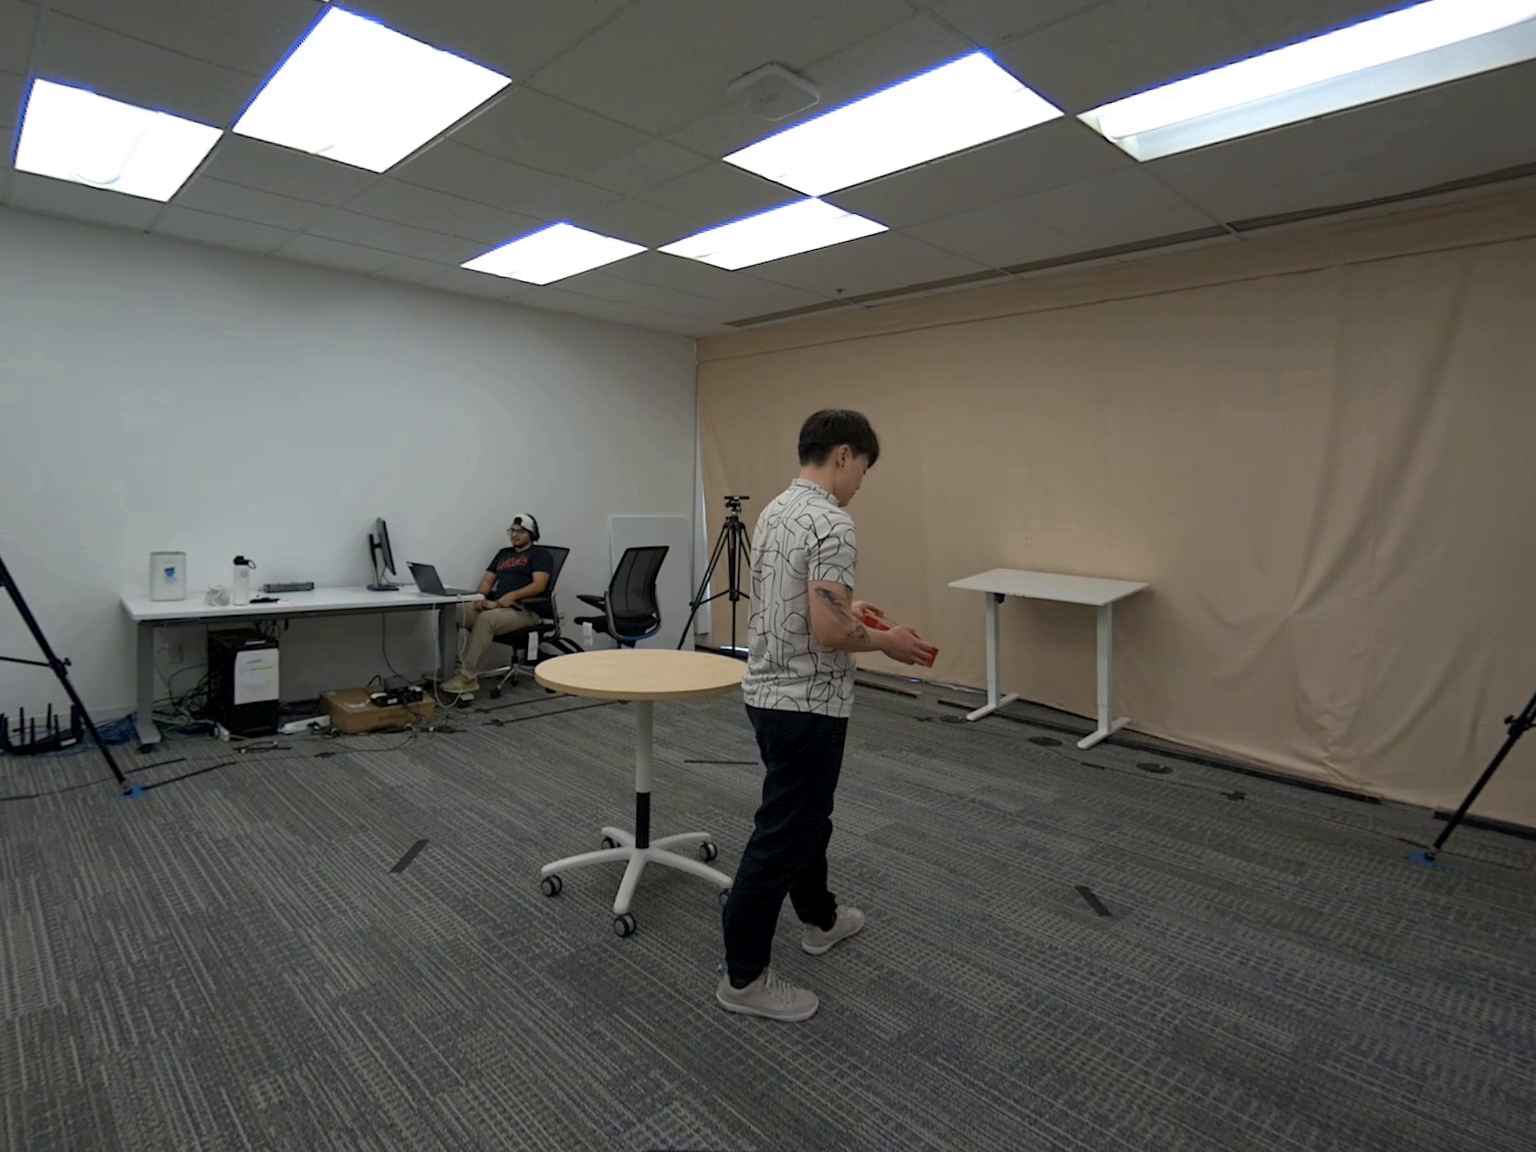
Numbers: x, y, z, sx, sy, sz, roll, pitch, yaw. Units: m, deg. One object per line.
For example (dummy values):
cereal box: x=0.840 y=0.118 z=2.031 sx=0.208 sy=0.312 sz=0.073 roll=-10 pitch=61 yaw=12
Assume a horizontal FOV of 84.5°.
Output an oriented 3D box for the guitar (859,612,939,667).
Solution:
guitar: x=0.354 y=0.165 z=2.576 sx=0.191 sy=0.070 sz=0.503 roll=21 pitch=4 yaw=-11
